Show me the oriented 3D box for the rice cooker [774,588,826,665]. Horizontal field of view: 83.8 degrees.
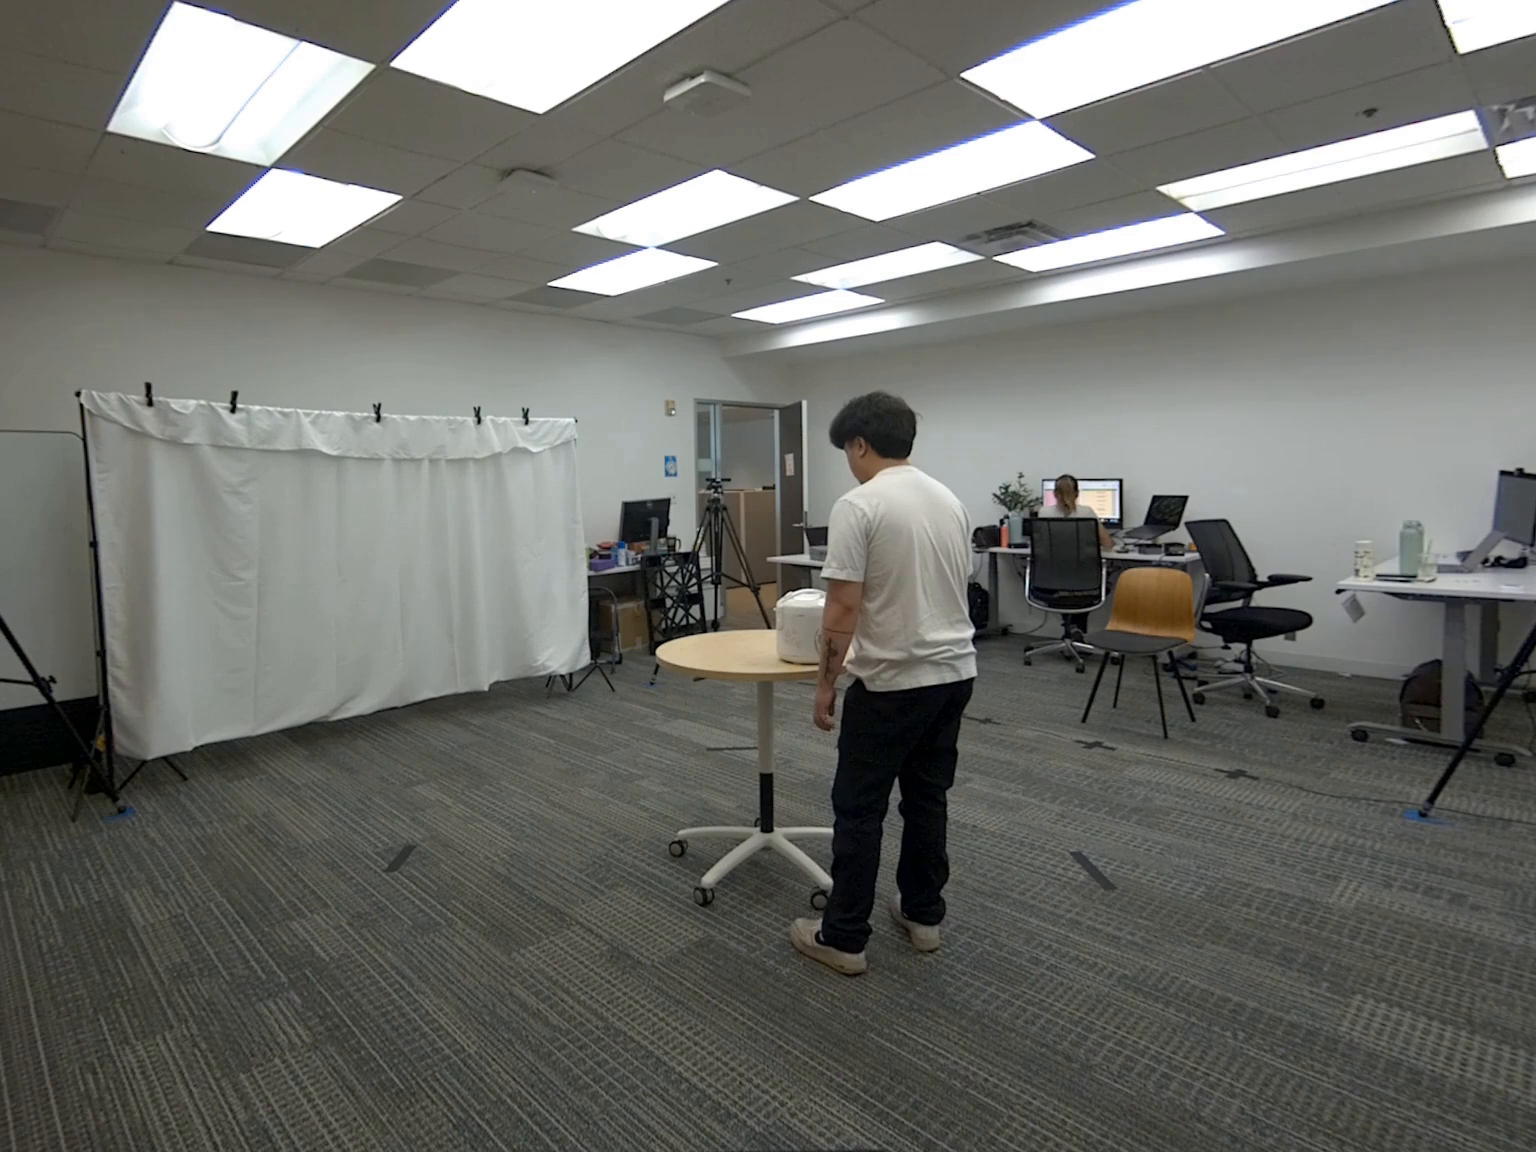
[{"bbox_3d":[0.136,0.160,2.802,0.216,0.232,0.222,-3,5,-24],"label":"rice cooker"}]
